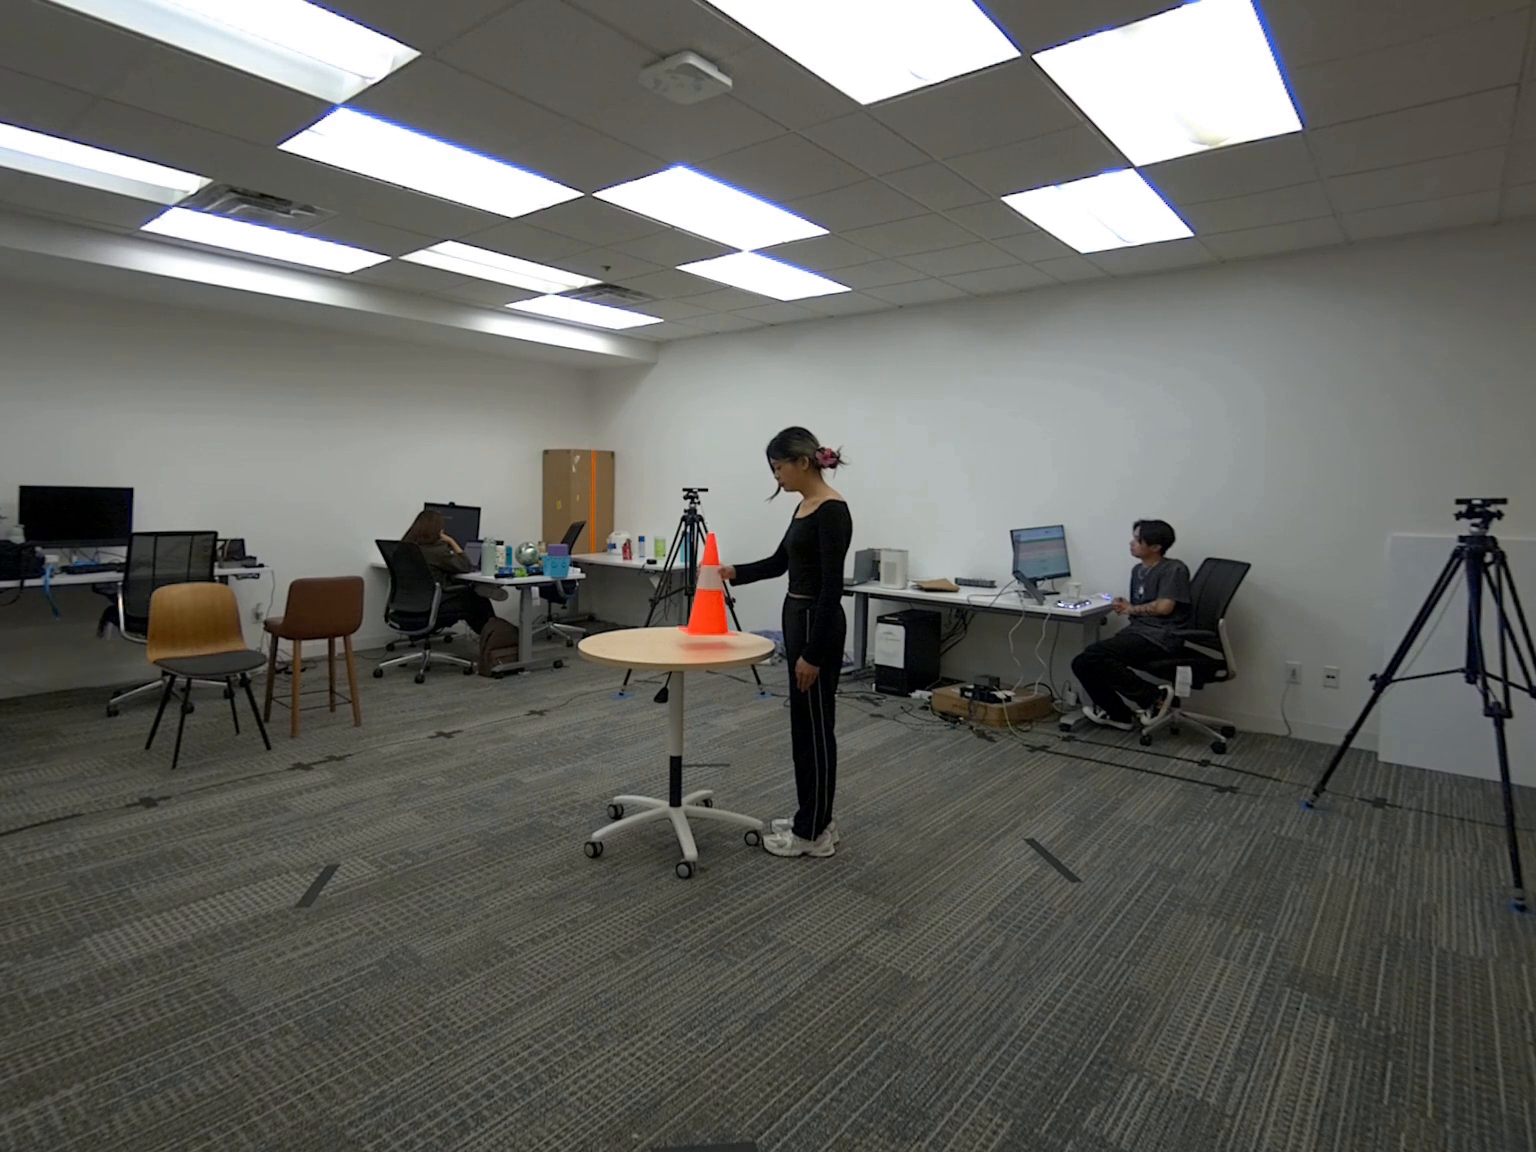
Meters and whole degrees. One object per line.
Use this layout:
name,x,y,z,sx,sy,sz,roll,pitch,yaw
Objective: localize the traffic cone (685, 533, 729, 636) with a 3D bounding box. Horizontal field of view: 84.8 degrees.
traffic cone,-0.233,0.022,3.282,0.199,0.383,0.209,0,2,-19
